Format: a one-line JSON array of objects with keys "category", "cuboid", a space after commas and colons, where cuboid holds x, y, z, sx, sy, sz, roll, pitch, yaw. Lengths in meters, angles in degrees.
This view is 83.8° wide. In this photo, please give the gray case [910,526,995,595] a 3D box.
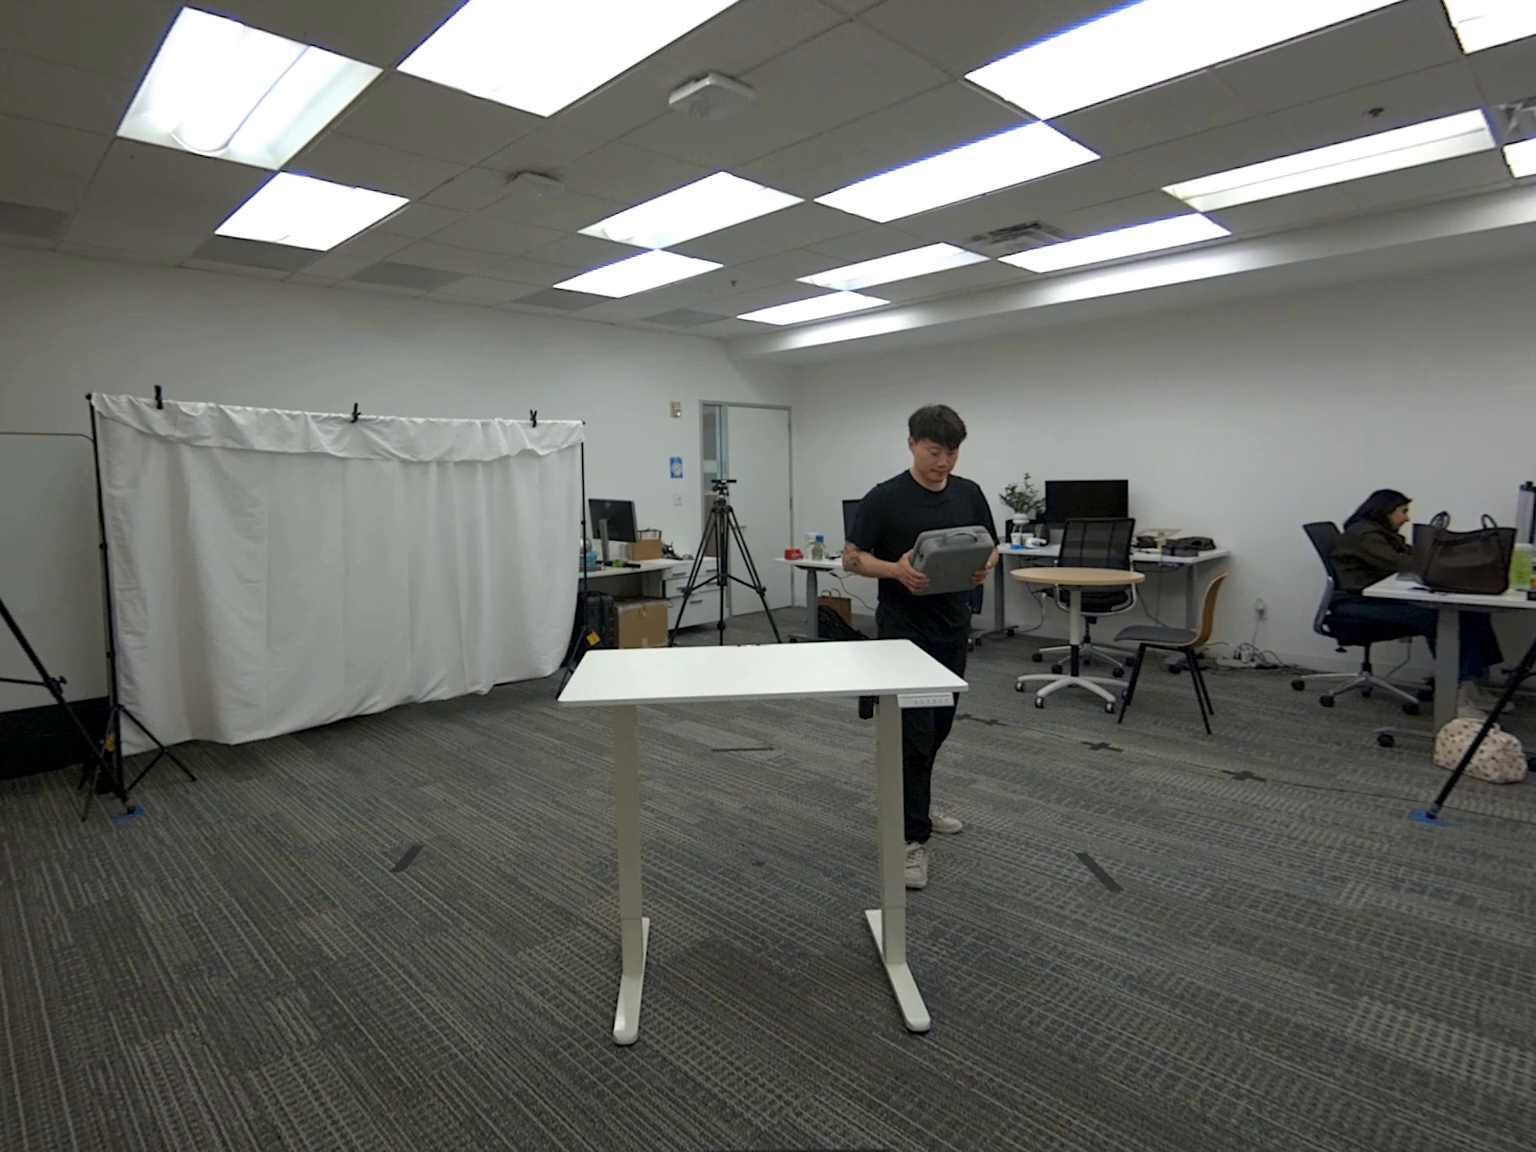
[{"category": "gray case", "cuboid": [0.615, -0.056, 2.941, 0.254, 0.108, 0.254, -7, -38, -11]}]
